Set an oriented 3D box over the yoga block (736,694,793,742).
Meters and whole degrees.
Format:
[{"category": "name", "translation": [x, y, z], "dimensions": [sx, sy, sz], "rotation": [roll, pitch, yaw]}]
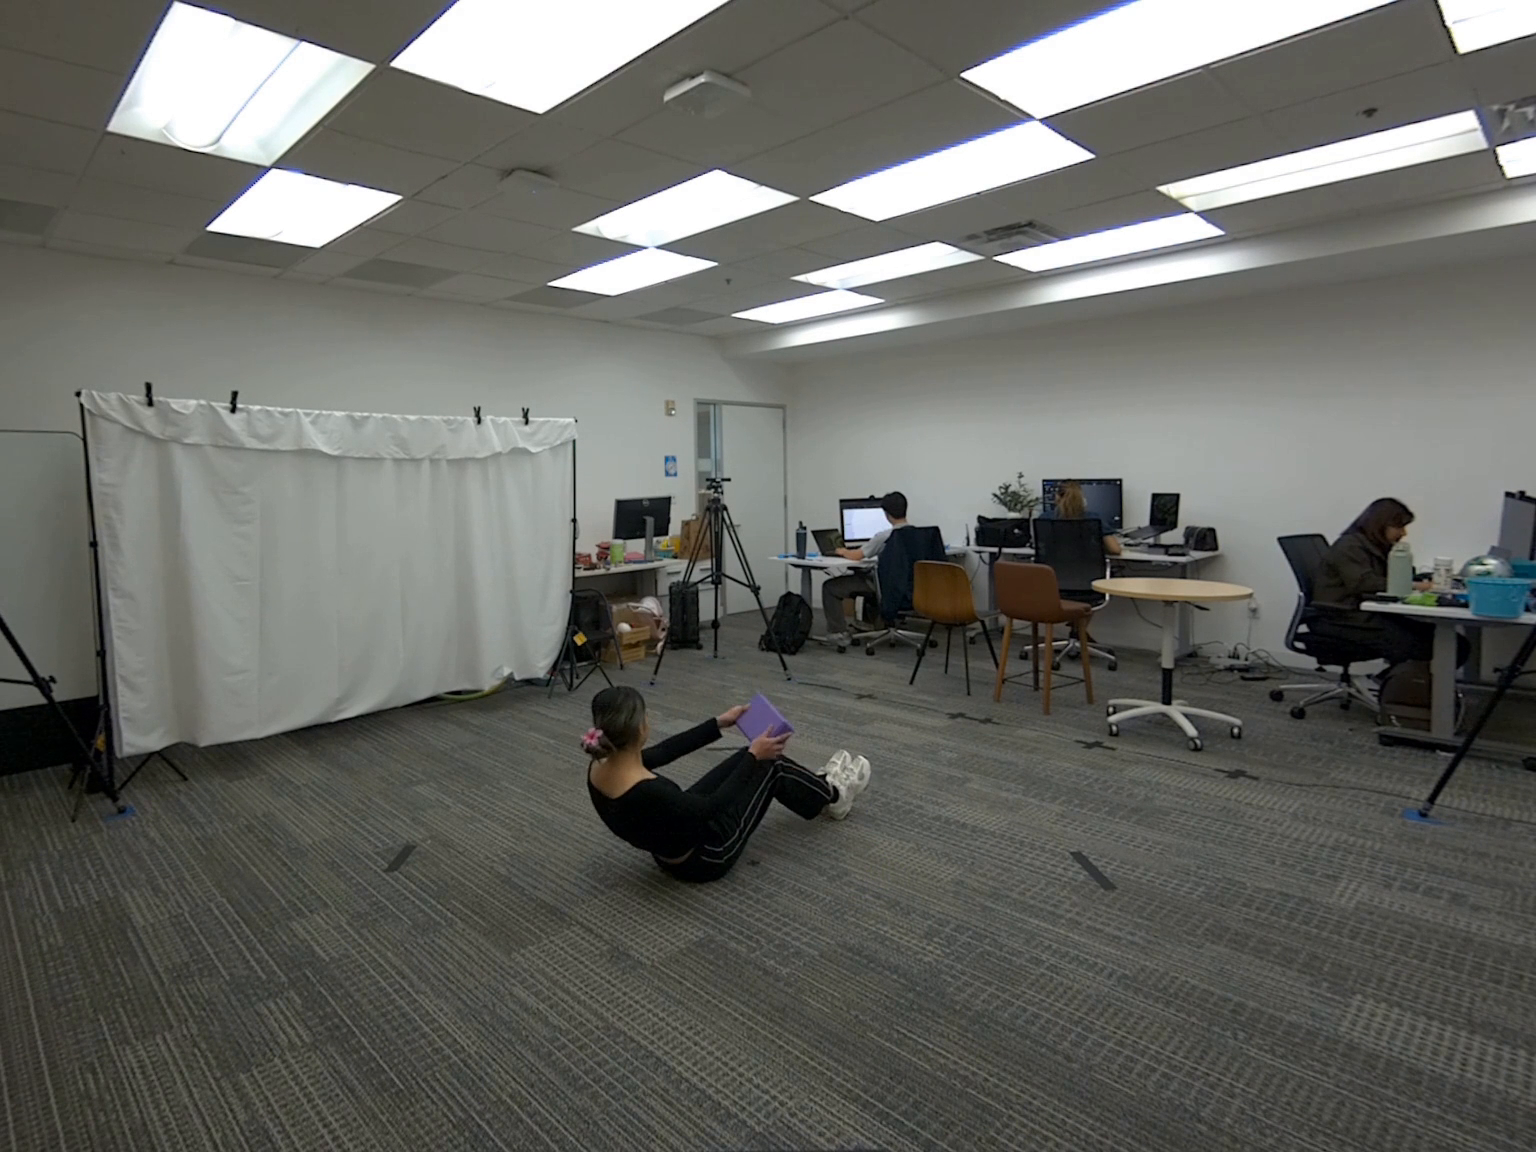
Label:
[{"category": "yoga block", "translation": [-0.025, 0.549, 3.183], "dimensions": [0.074, 0.149, 0.238], "rotation": [45, -3, -35]}]
